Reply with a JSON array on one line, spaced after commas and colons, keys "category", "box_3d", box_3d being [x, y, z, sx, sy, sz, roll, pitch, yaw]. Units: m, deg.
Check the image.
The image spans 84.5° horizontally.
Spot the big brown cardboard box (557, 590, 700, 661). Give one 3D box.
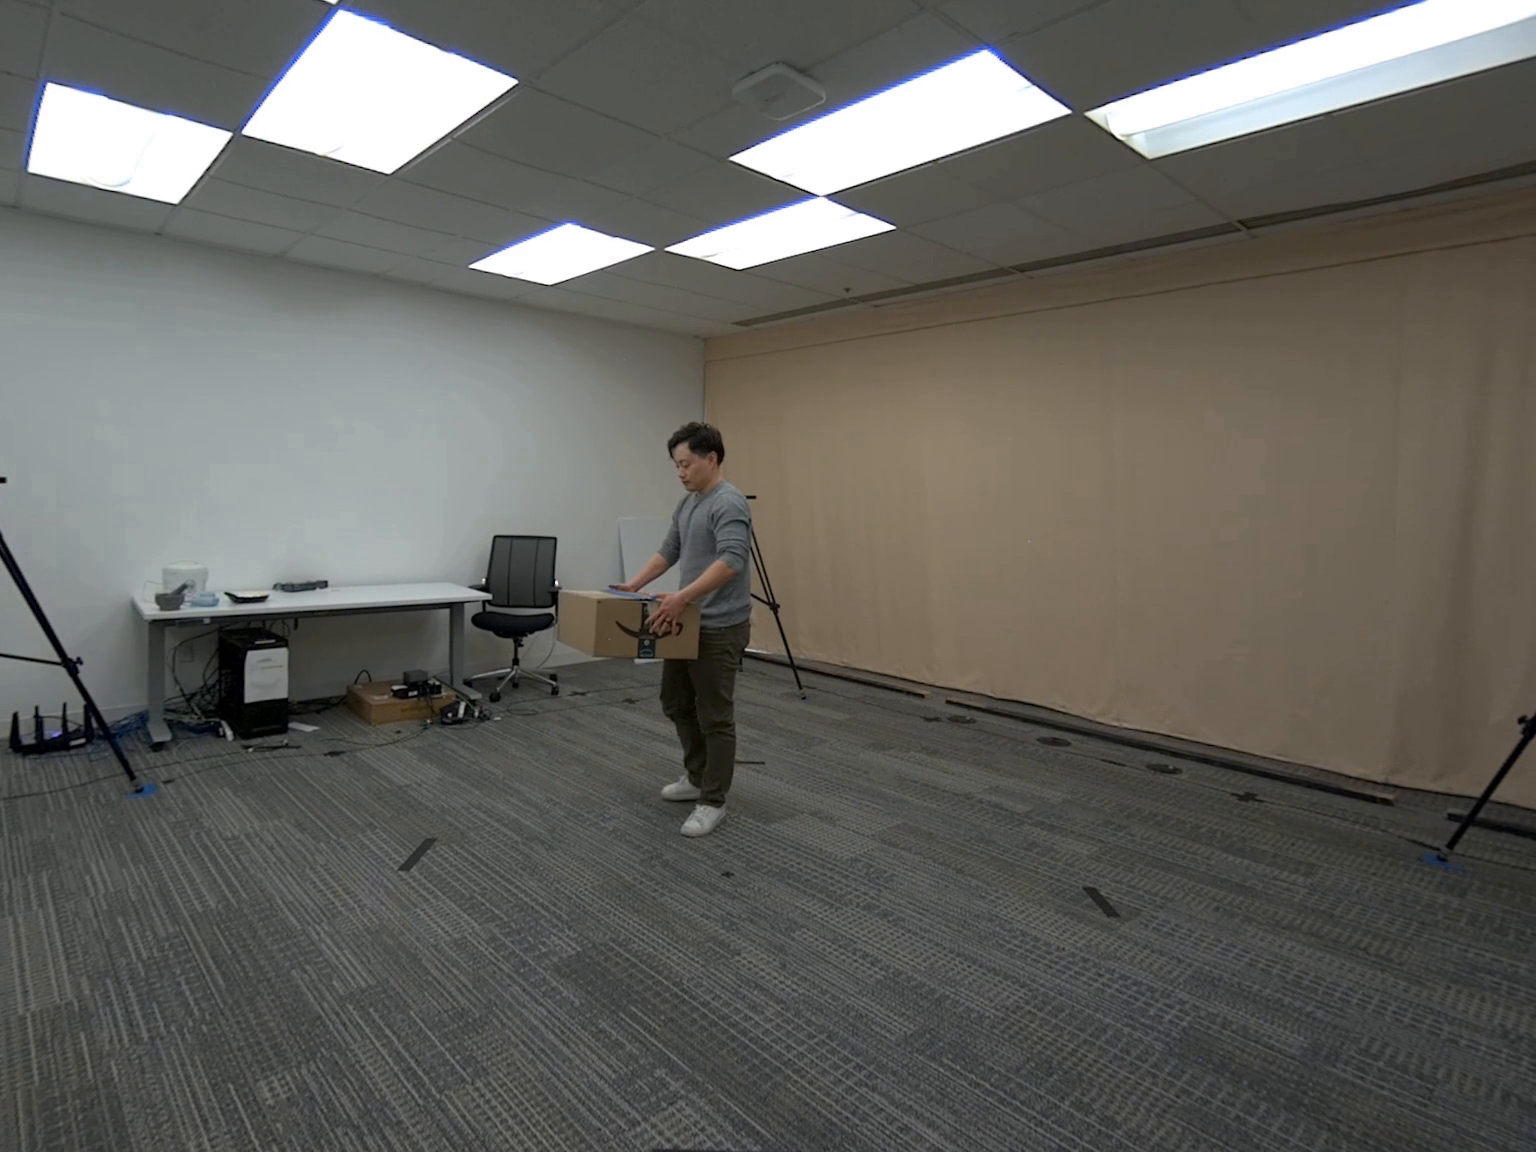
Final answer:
[{"category": "big brown cardboard box", "box_3d": [-0.583, 0.185, 3.398, 0.409, 0.233, 0.601, 4, 1, -27]}]
